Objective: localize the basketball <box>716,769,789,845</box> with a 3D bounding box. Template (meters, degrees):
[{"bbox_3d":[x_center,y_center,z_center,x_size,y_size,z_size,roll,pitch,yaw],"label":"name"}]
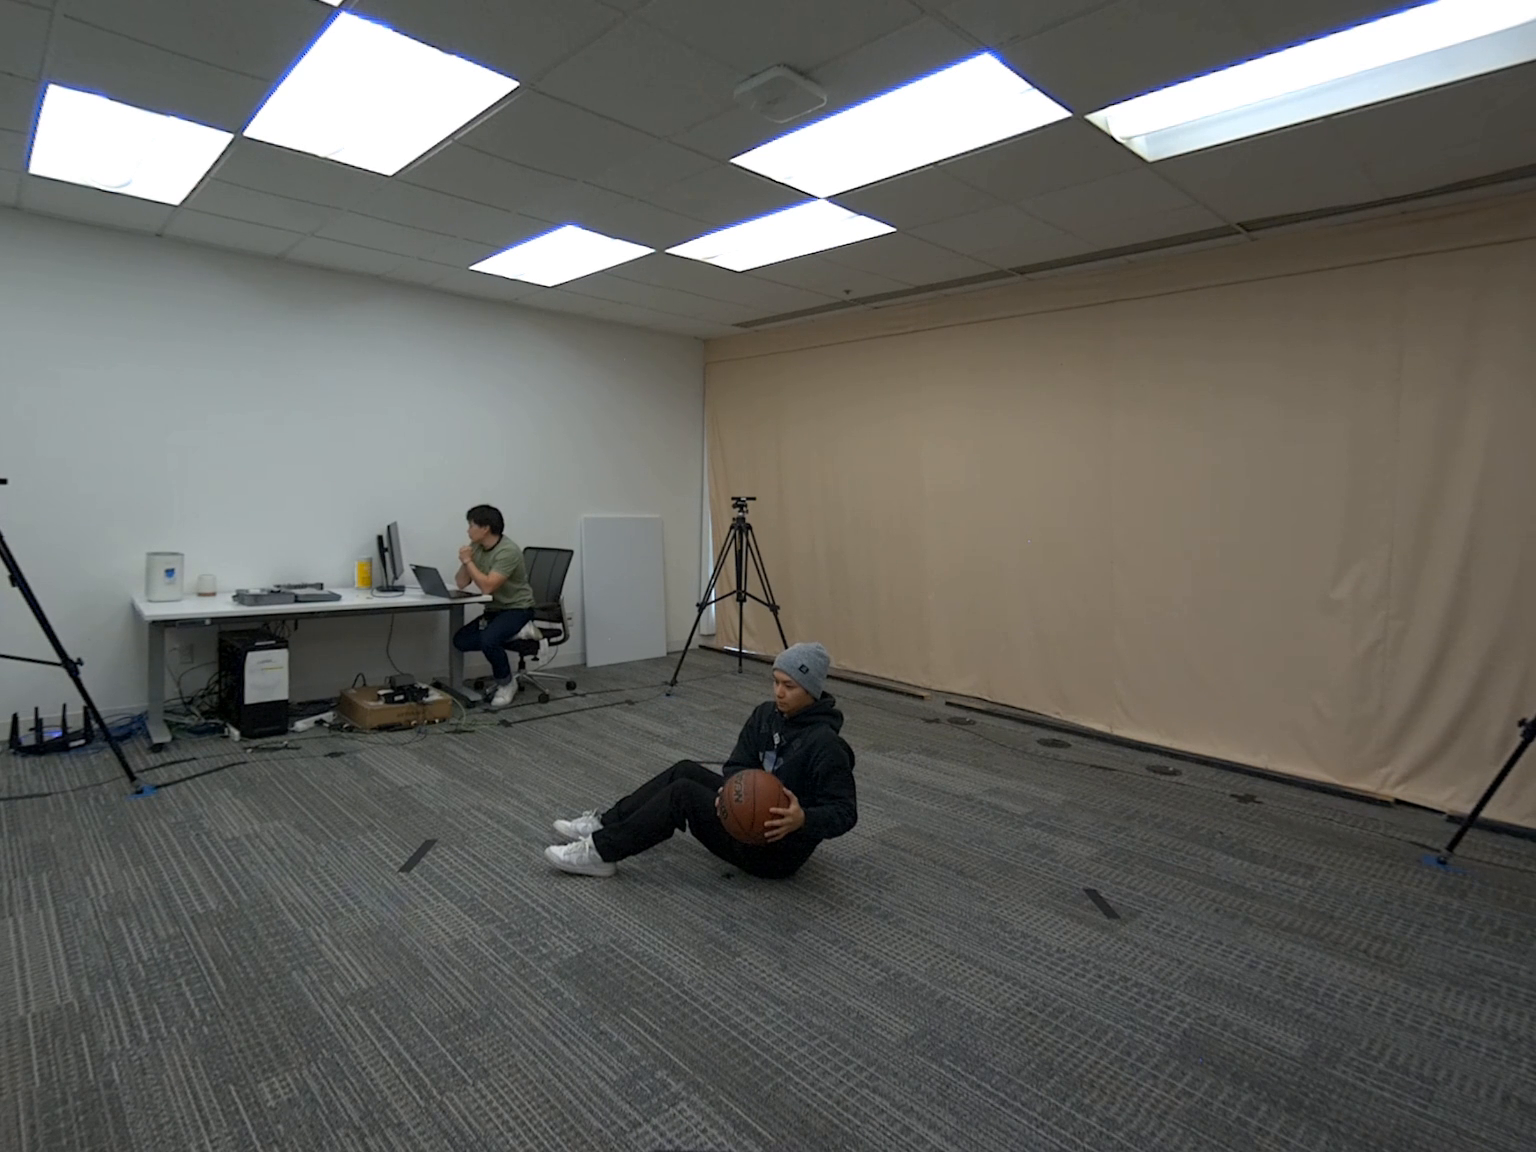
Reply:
[{"bbox_3d":[-0.059,0.764,2.809,0.236,0.235,0.237,1,4,-1],"label":"basketball"}]
